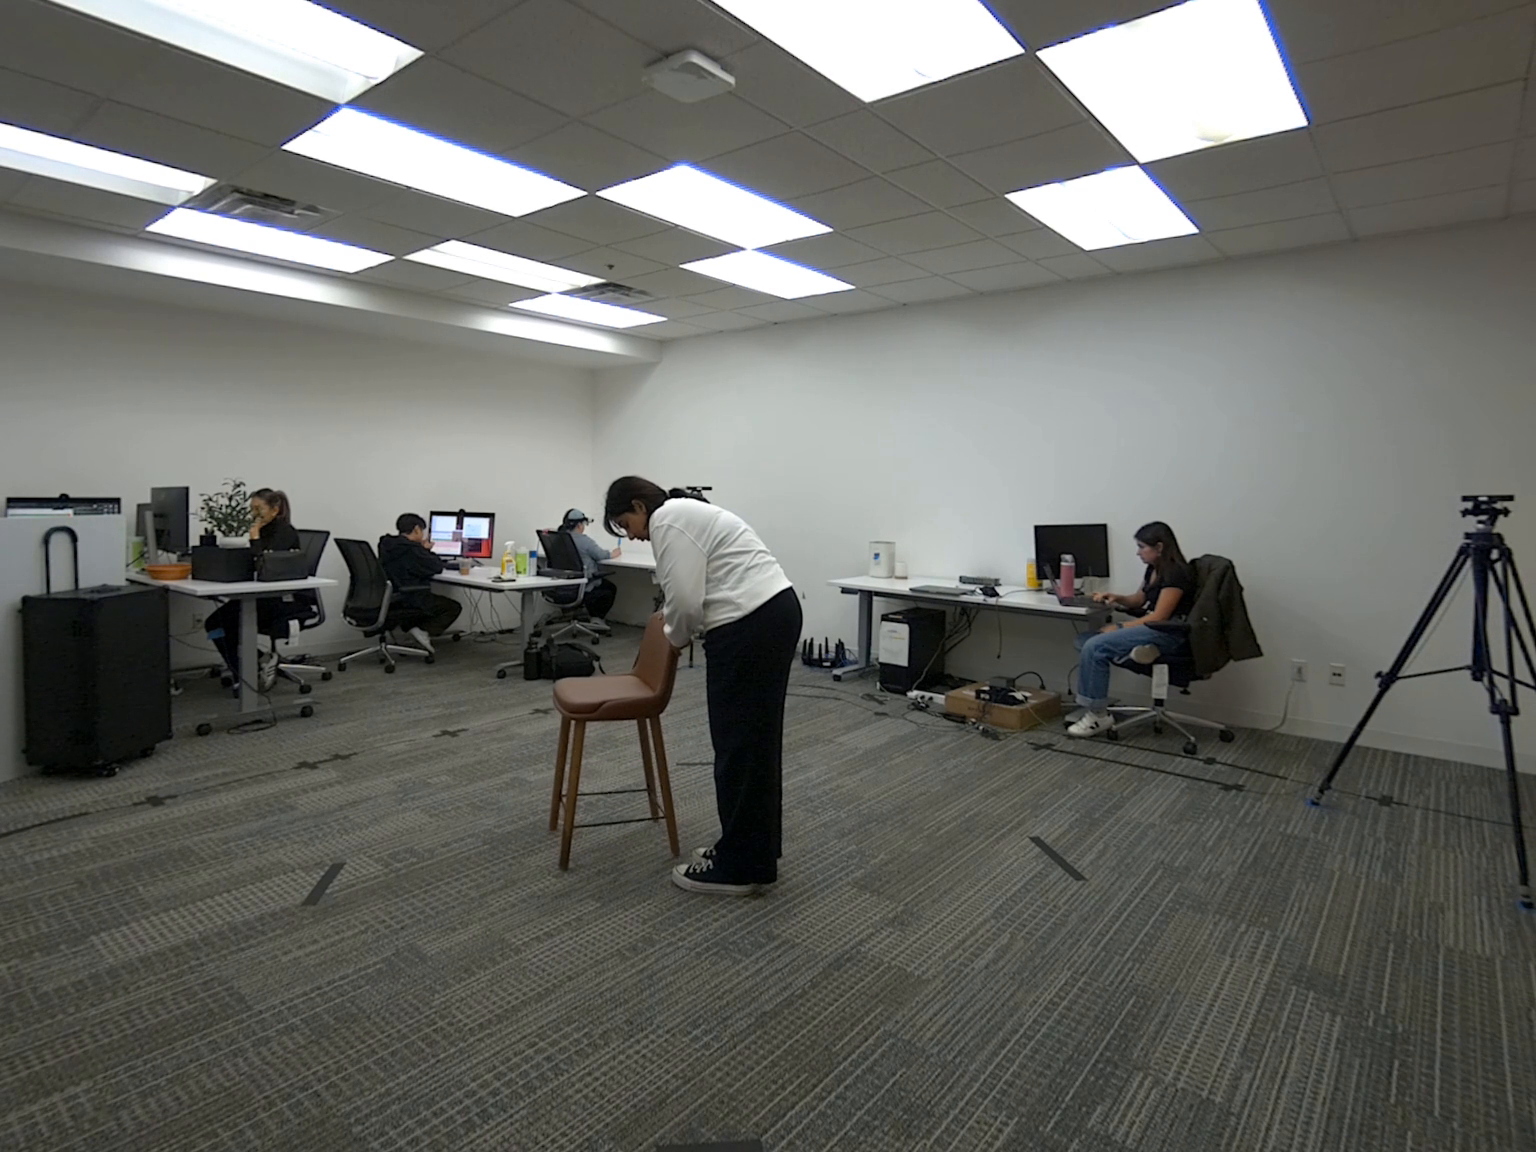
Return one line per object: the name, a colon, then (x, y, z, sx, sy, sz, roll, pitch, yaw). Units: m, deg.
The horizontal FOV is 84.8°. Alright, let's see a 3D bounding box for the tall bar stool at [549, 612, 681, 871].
tall bar stool: (-0.600, 0.602, 3.304, 0.459, 0.888, 0.466, 2, 3, -19)
